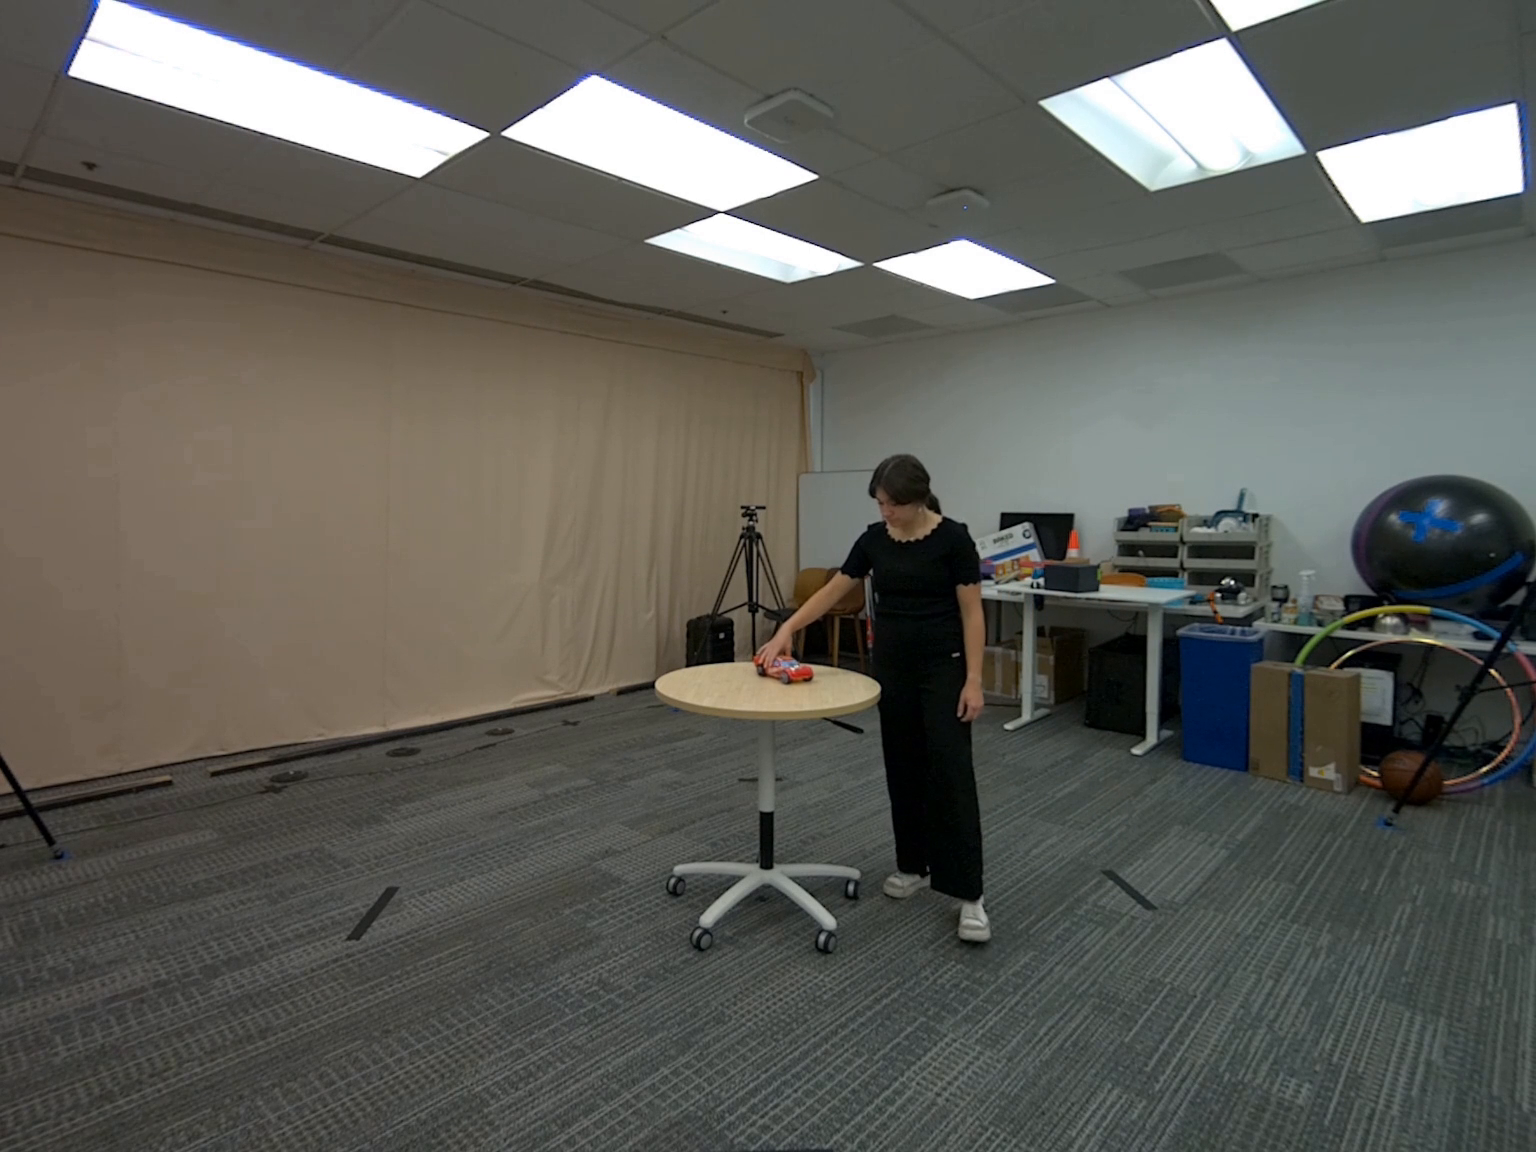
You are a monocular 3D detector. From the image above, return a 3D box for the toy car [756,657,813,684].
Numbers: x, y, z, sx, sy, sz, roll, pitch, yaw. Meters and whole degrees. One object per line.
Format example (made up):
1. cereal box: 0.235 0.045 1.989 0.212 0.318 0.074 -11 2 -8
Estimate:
1. toy car: 0.052 0.329 2.982 0.126 0.082 0.263 -2 16 -33
